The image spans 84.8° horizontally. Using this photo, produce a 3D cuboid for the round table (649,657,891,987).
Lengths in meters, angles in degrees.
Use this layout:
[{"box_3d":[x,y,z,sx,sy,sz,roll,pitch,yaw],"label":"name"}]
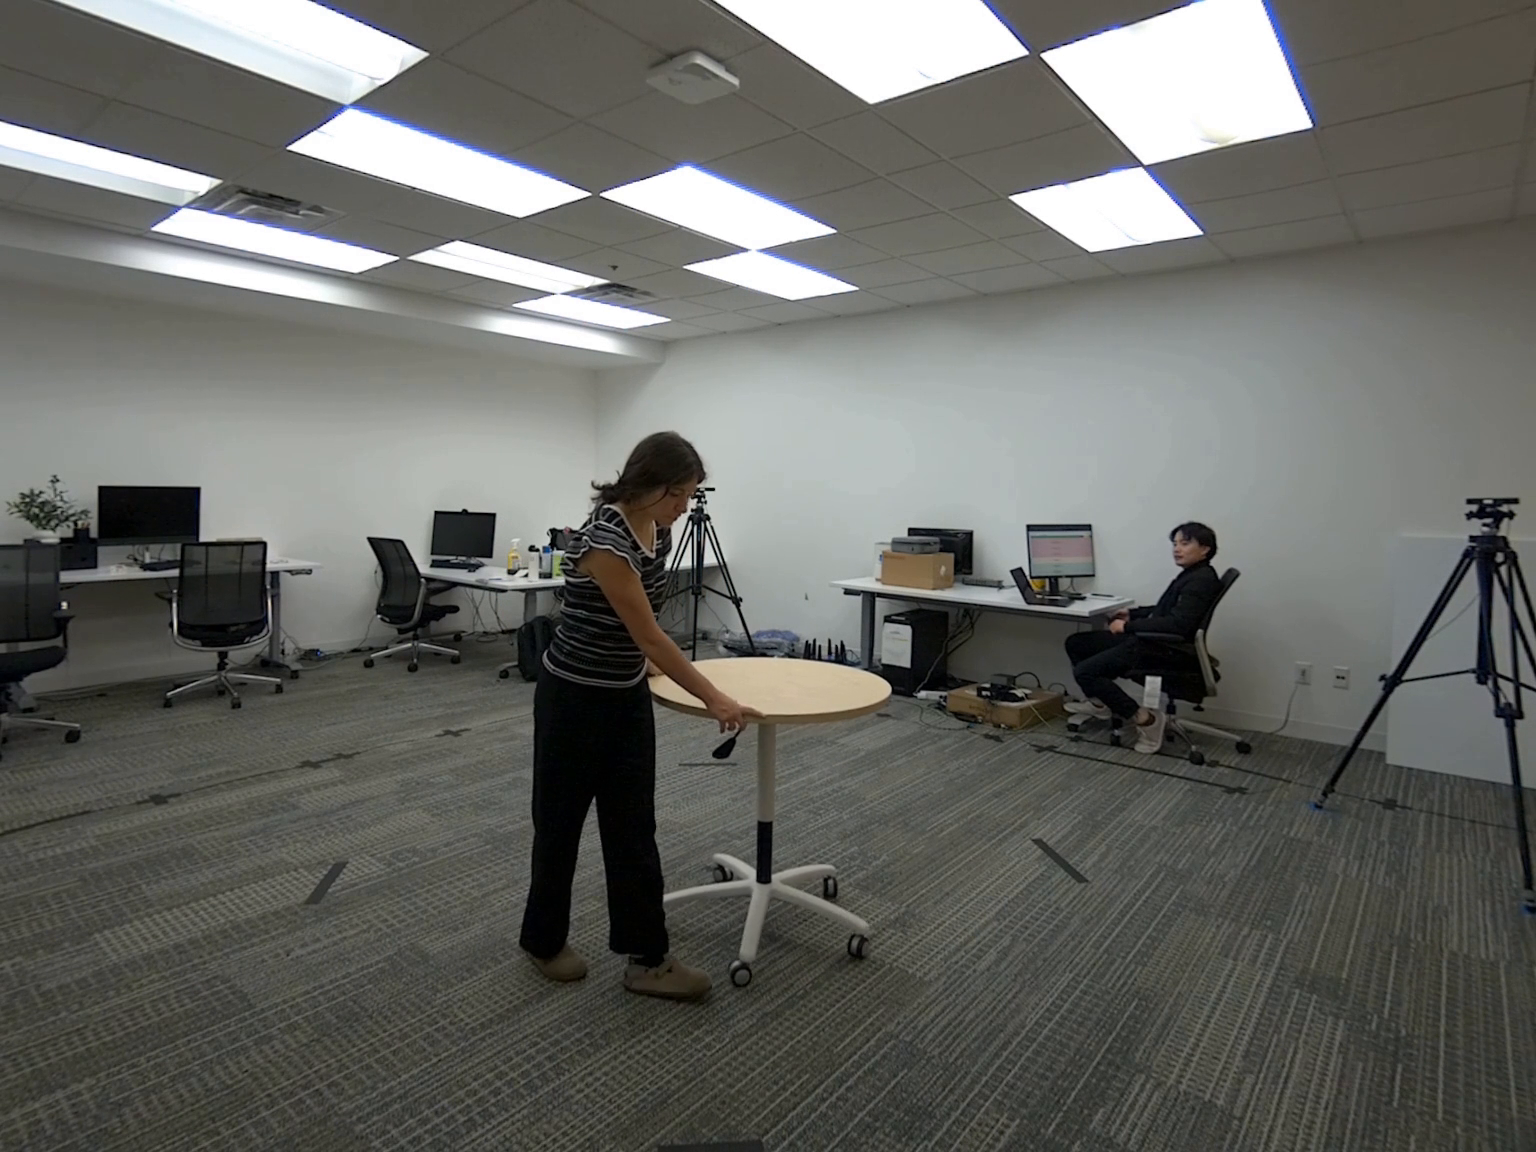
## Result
[{"box_3d":[-0.016,0.722,2.705,0.763,0.791,0.768,1,5,-2],"label":"round table"}]
